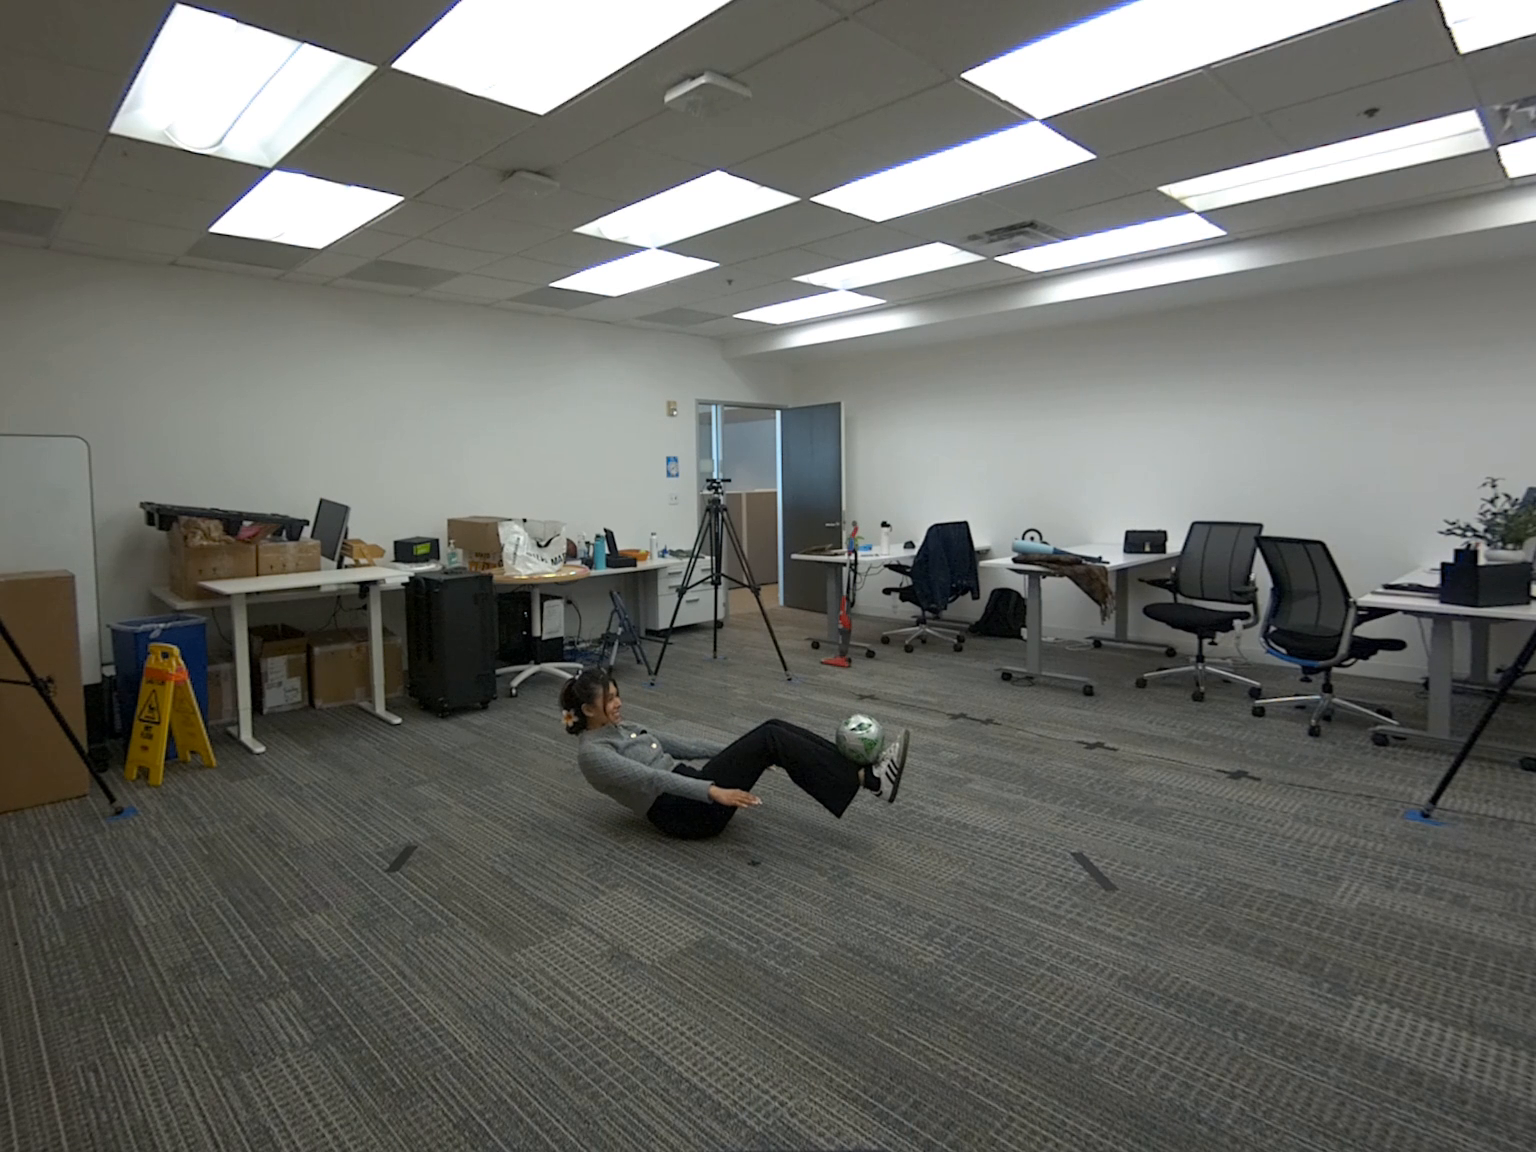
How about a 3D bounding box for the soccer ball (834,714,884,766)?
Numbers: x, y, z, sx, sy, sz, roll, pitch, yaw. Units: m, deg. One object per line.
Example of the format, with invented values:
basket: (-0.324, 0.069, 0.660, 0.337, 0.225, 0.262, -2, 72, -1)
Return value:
soccer ball: (0.351, 0.620, 3.243, 0.187, 0.187, 0.188, -1, 5, -2)
